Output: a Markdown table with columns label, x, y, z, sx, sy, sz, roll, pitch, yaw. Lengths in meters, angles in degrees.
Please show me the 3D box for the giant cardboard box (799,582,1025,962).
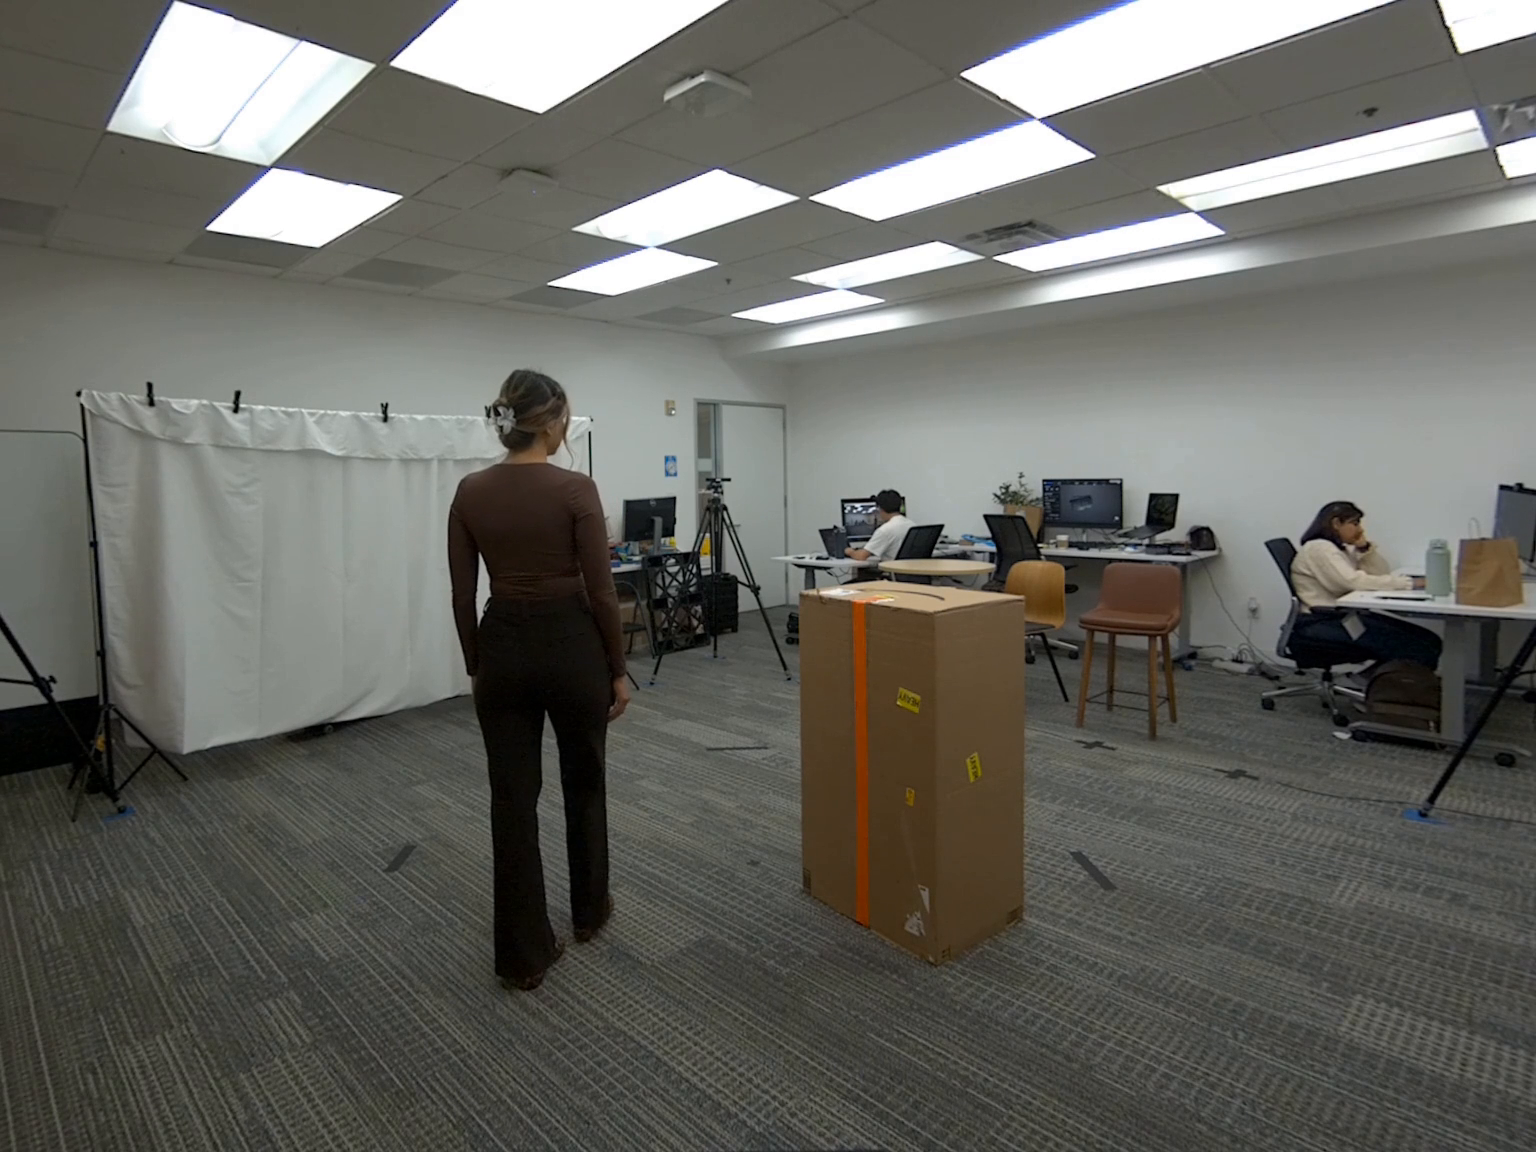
| label | x | y | z | sx | sy | sz | roll | pitch | yaw |
| --- | --- | --- | --- | --- | --- | --- | --- | --- | --- |
| giant cardboard box | 0.453 | 0.564 | 2.749 | 0.435 | 1.023 | 0.601 | -5 | 6 | -37 |
